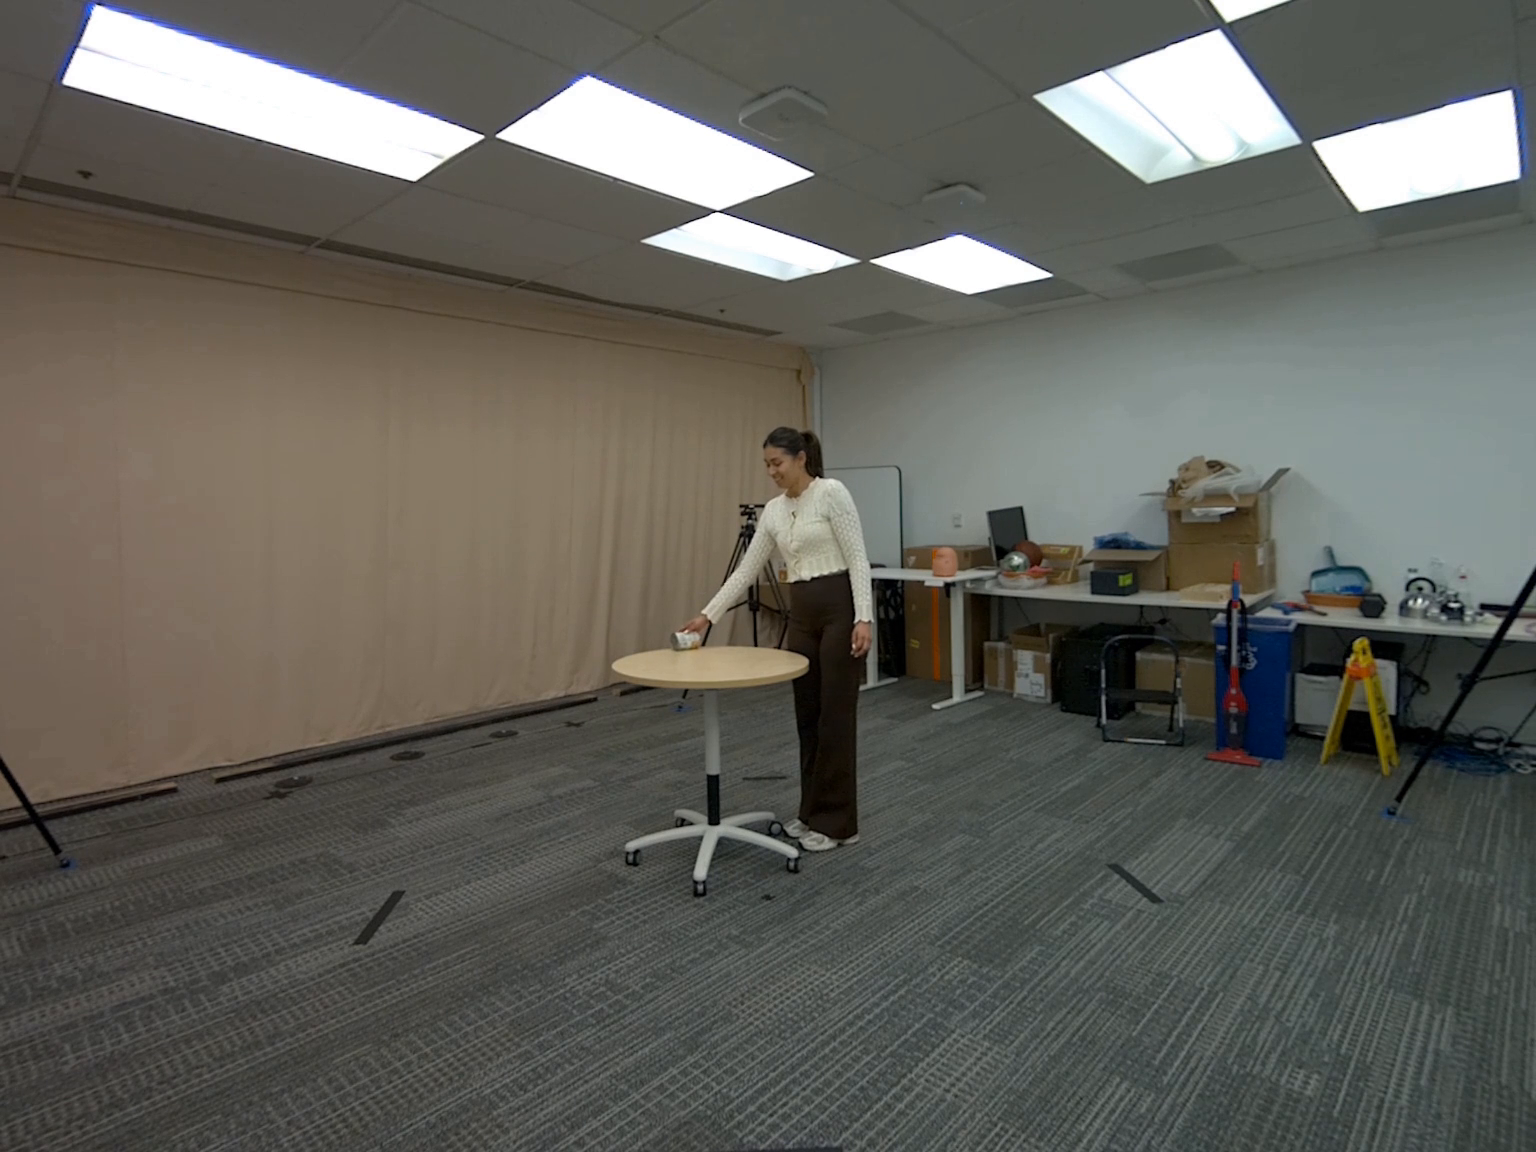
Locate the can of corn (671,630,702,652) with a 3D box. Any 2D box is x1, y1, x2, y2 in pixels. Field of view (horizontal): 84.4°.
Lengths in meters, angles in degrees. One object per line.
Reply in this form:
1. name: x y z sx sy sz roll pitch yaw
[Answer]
1. can of corn: -0.345 0.277 3.599 0.109 0.074 0.076 -1 4 -17
